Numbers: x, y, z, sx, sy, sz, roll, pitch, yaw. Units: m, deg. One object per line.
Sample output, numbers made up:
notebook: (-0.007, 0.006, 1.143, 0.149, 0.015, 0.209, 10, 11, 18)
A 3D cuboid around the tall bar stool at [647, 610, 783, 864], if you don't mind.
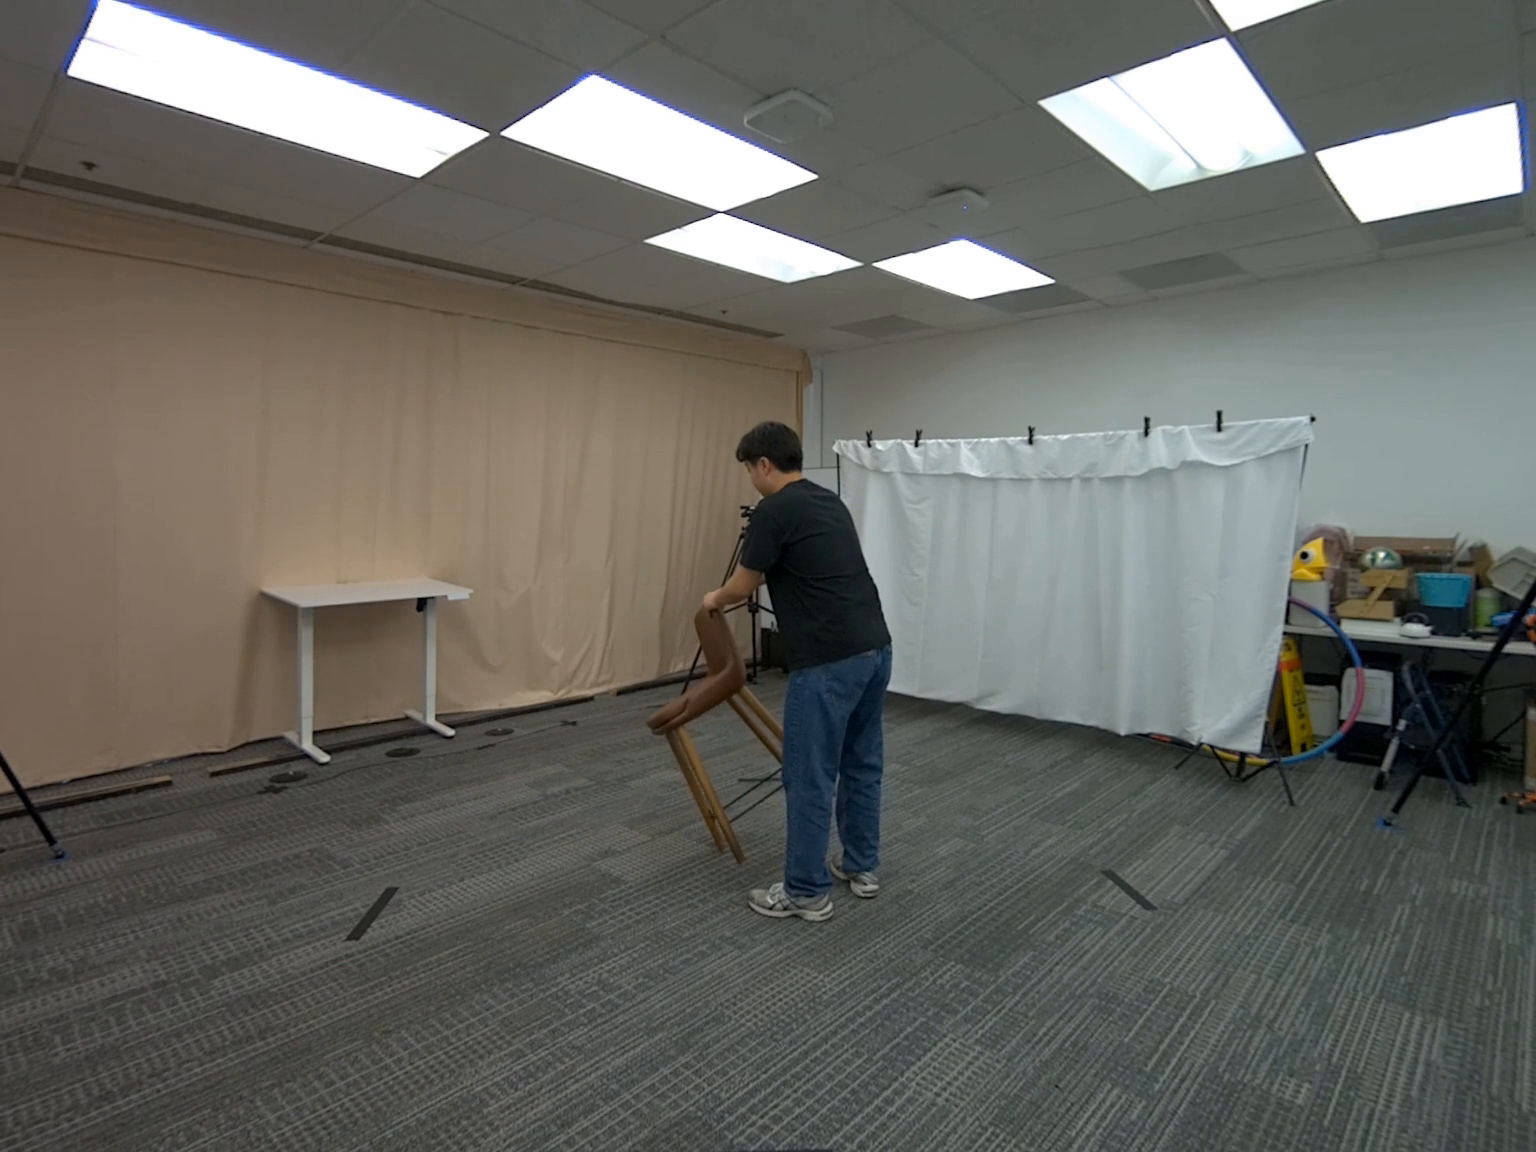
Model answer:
tall bar stool: (-0.195, 0.594, 3.315, 0.463, 0.895, 0.458, -29, -5, -17)
